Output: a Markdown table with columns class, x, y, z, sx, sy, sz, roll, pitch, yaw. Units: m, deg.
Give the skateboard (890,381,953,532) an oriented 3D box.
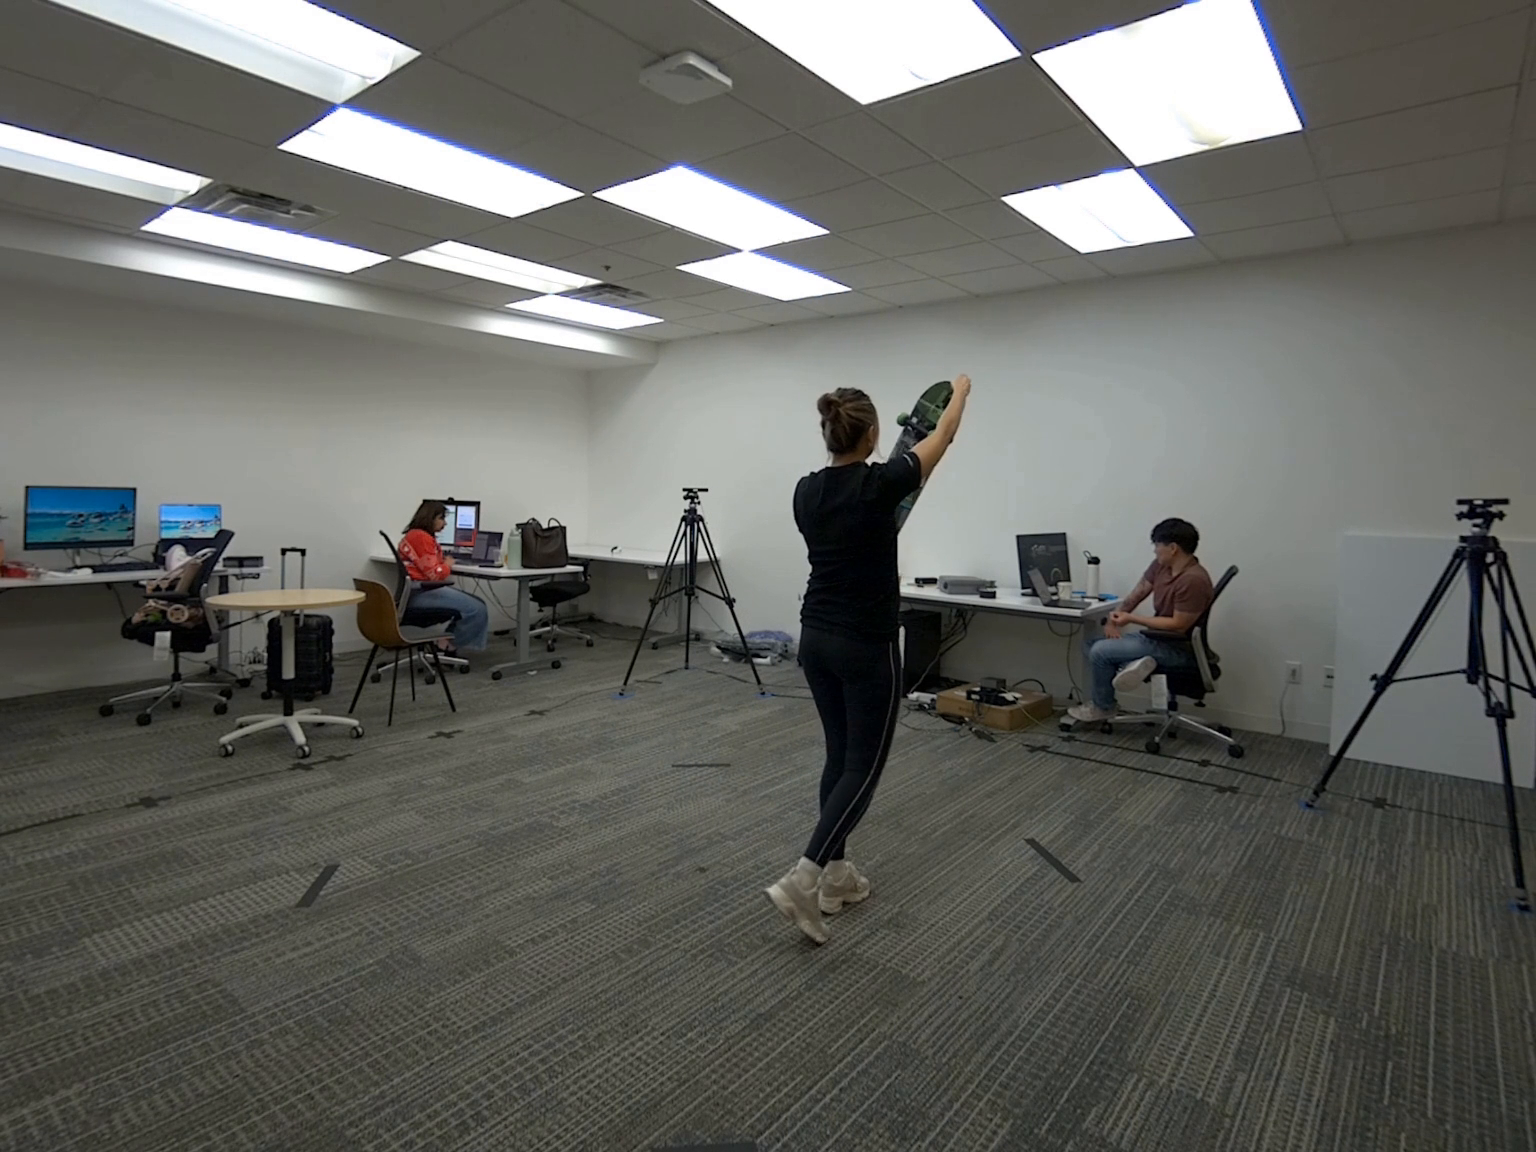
| class | x | y | z | sx | sy | sz | roll | pitch | yaw |
| --- | --- | --- | --- | --- | --- | --- | --- | --- | --- |
| skateboard | 0.471 | -0.361 | 3.145 | 0.106 | 0.780 | 0.202 | 8 | 25 | -46 |
